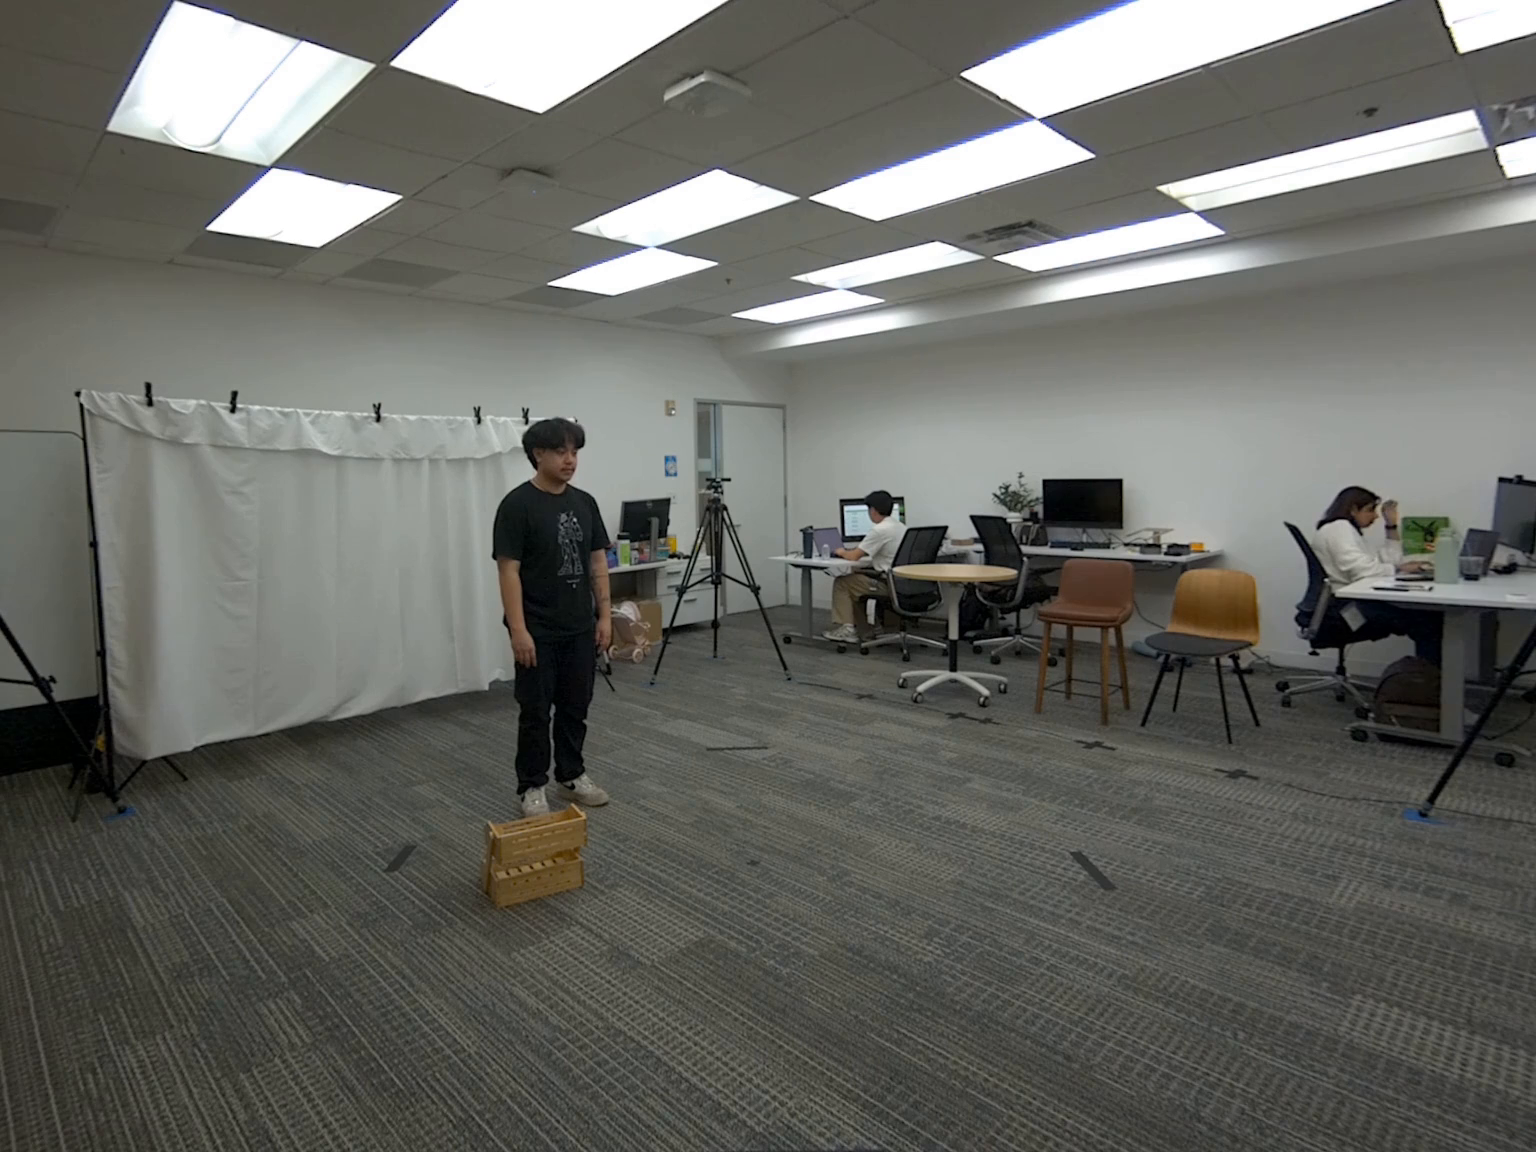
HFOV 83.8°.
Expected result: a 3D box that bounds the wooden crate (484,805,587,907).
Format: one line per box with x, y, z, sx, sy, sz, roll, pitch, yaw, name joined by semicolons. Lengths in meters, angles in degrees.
-0.815;0.944;2.958;0.317;0.272;0.311;-5;7;-31;wooden crate
